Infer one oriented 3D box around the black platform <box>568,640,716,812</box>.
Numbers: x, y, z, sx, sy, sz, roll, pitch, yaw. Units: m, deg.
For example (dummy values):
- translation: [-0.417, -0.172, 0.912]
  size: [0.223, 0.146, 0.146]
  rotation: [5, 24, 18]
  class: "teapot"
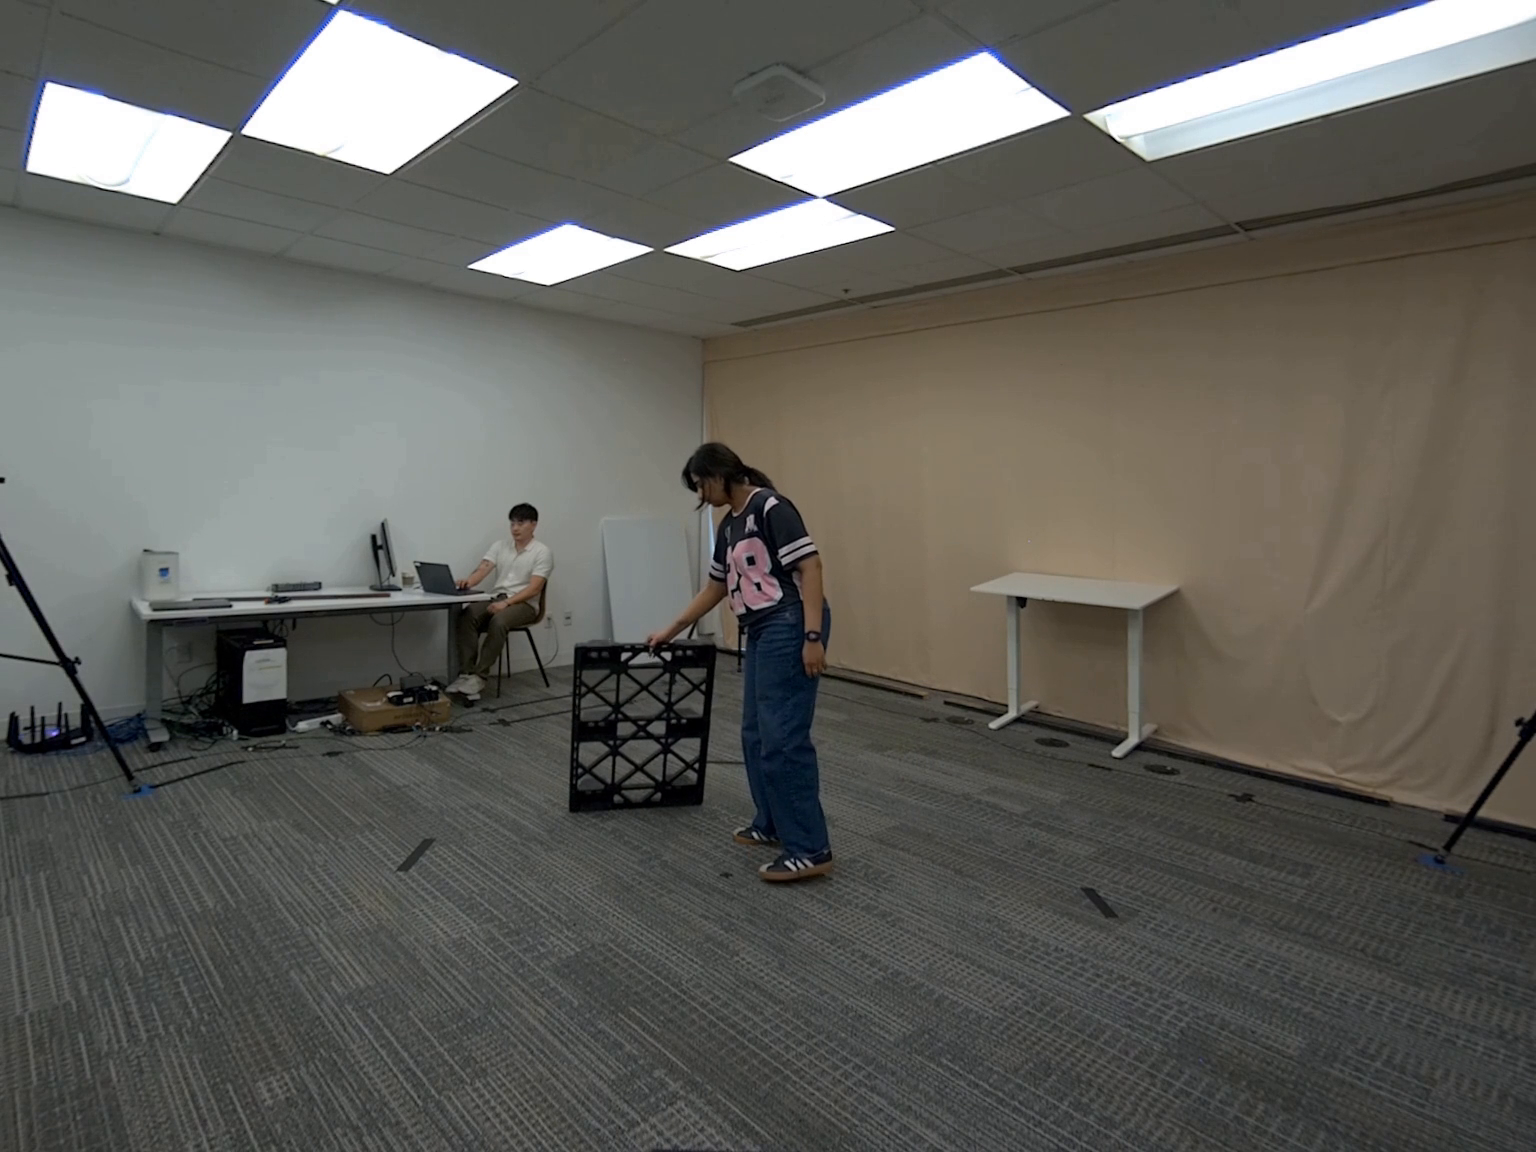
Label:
- translation: [-0.562, 0.644, 3.687]
  size: [0.599, 0.796, 0.146]
  rotation: [1, 18, -13]
  class: "black platform"
